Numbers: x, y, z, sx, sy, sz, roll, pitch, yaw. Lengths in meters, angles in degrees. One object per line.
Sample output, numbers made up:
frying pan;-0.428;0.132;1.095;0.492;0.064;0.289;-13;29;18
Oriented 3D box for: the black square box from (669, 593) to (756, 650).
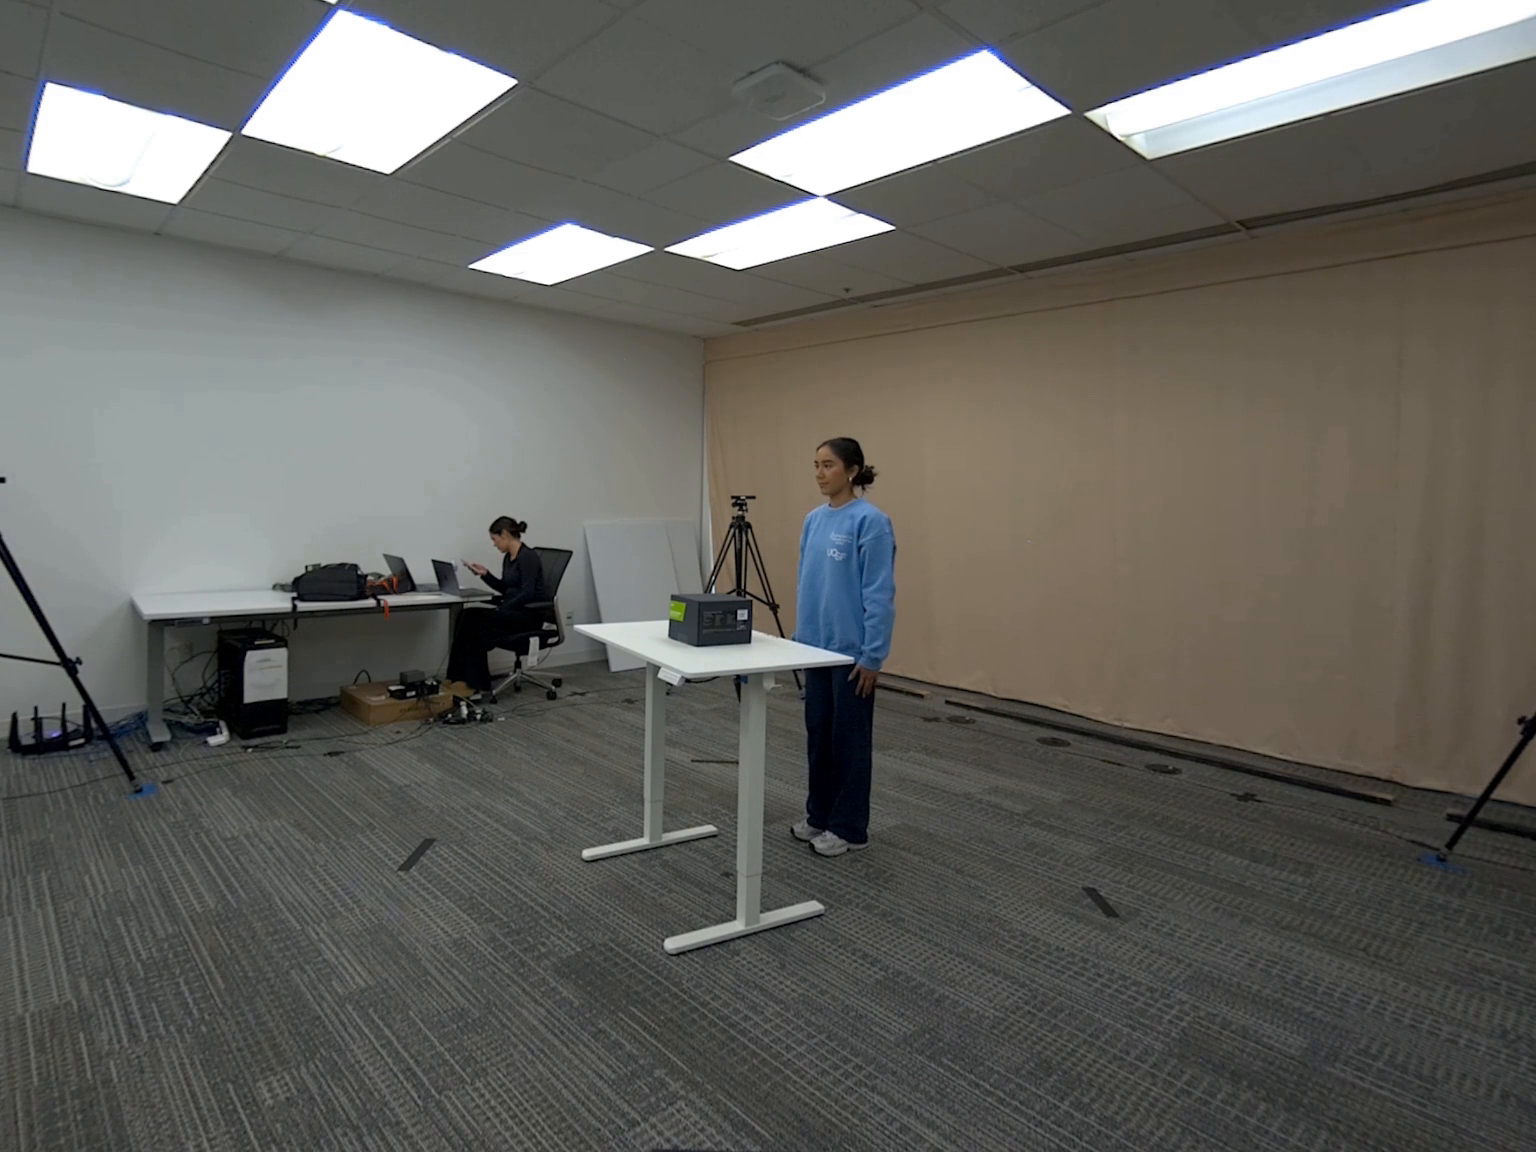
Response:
black square box;-0.201;0.153;2.982;0.212;0.155;0.233;-1;5;-30
